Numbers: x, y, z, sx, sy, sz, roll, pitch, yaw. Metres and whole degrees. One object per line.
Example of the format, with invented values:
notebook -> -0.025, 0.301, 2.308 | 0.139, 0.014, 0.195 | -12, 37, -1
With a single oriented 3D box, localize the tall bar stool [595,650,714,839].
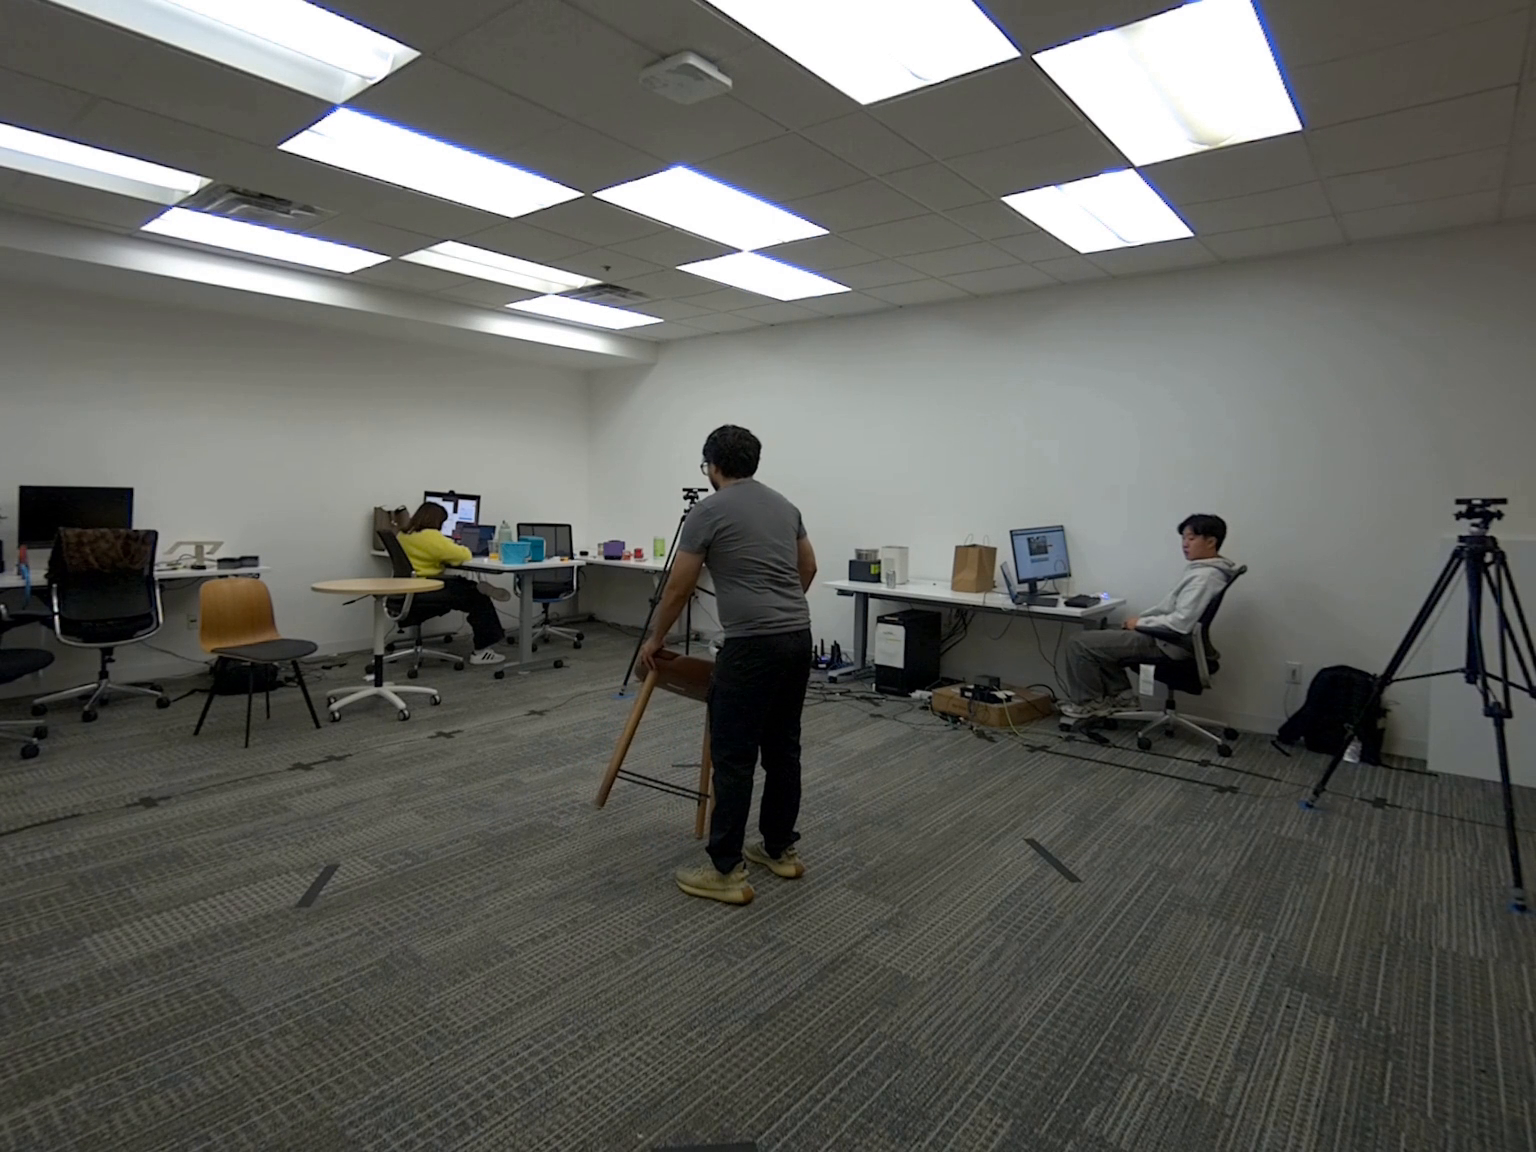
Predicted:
tall bar stool -> -0.357, 0.537, 3.380 | 0.466, 0.900, 0.453 | 18, -19, -4
